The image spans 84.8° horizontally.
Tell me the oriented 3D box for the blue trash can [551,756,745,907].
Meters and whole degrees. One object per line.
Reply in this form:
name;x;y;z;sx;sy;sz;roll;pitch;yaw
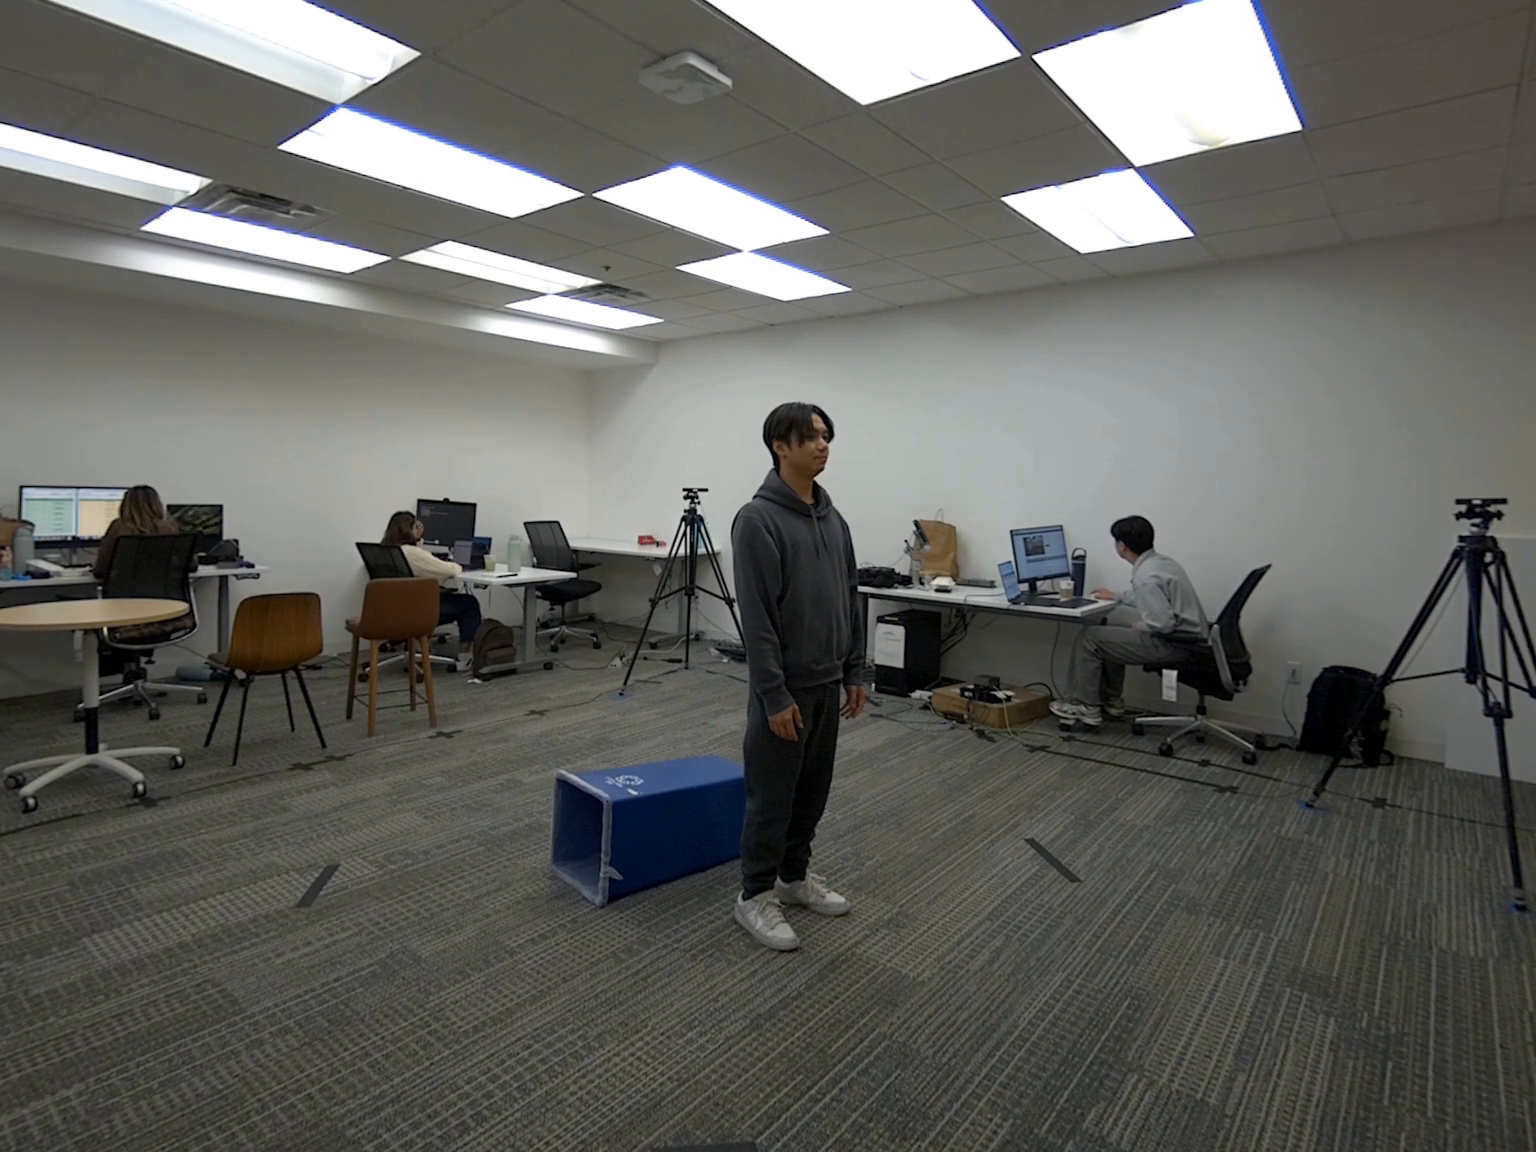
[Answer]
blue trash can;-0.414;0.895;3.155;0.691;0.377;0.387;1;3;-41
